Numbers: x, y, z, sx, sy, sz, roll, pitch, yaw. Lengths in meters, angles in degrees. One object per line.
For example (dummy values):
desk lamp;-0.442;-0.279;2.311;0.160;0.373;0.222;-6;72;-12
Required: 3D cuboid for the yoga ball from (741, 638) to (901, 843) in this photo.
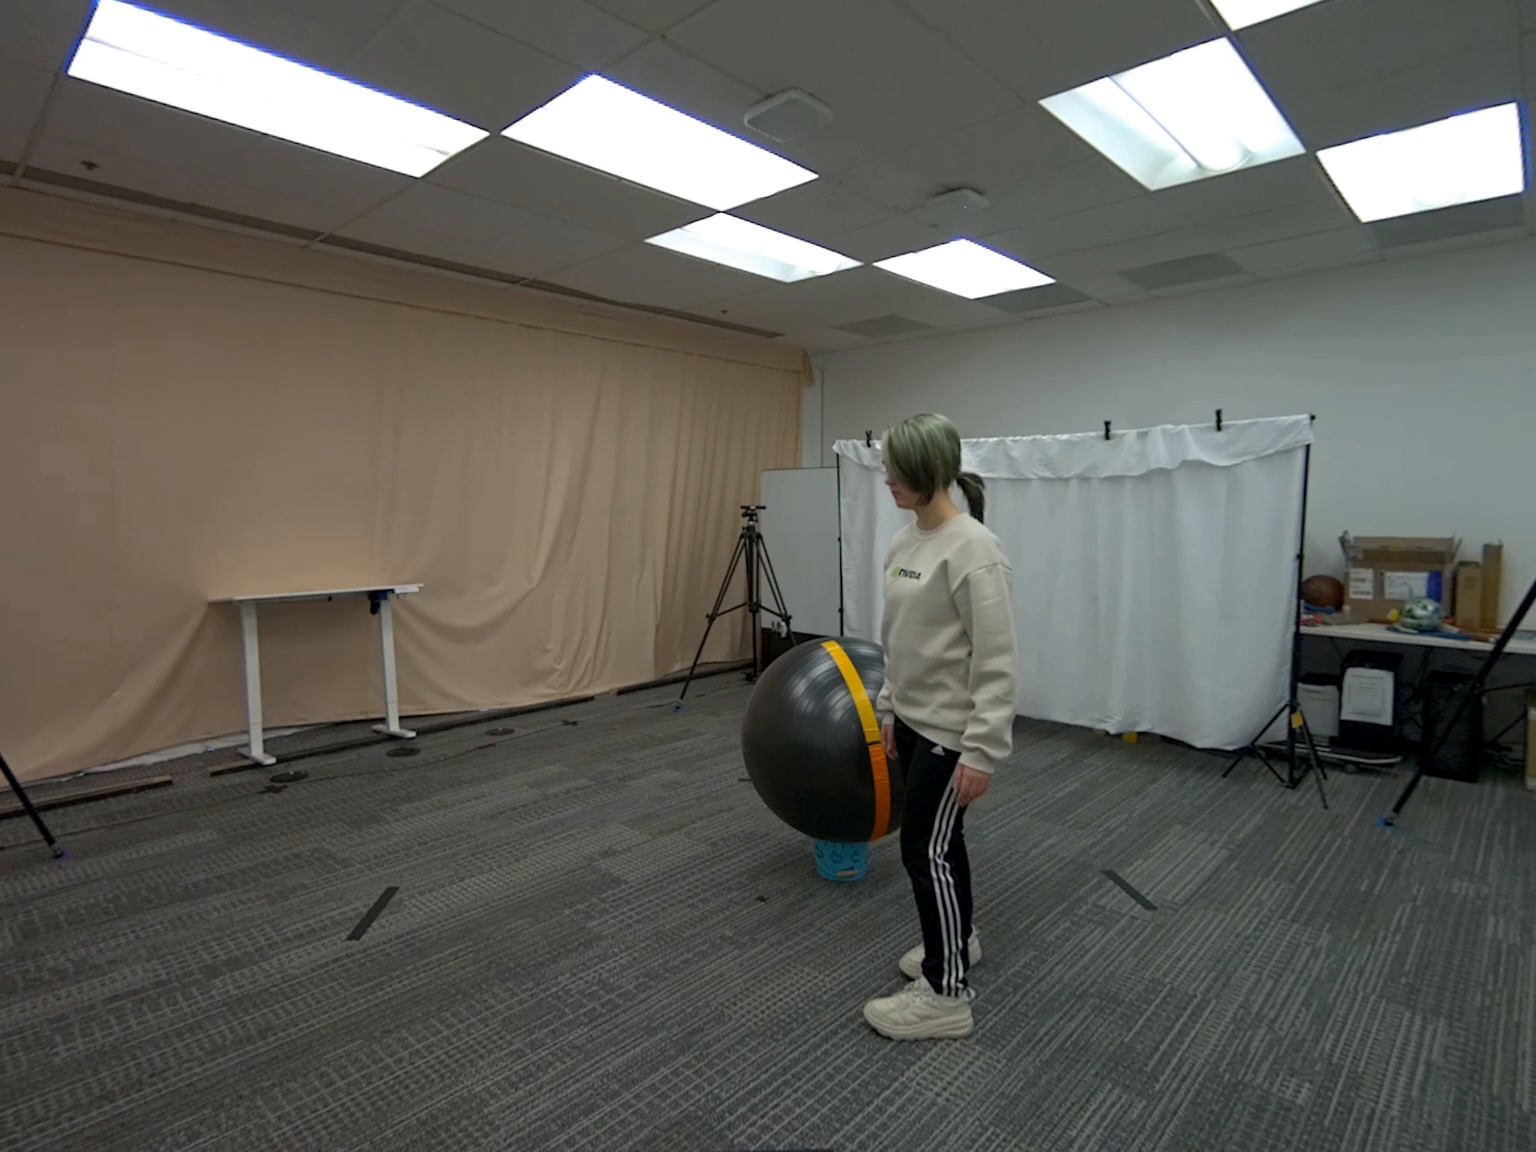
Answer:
yoga ball;0.281;0.615;3.187;0.757;0.756;0.760;0;4;-2
